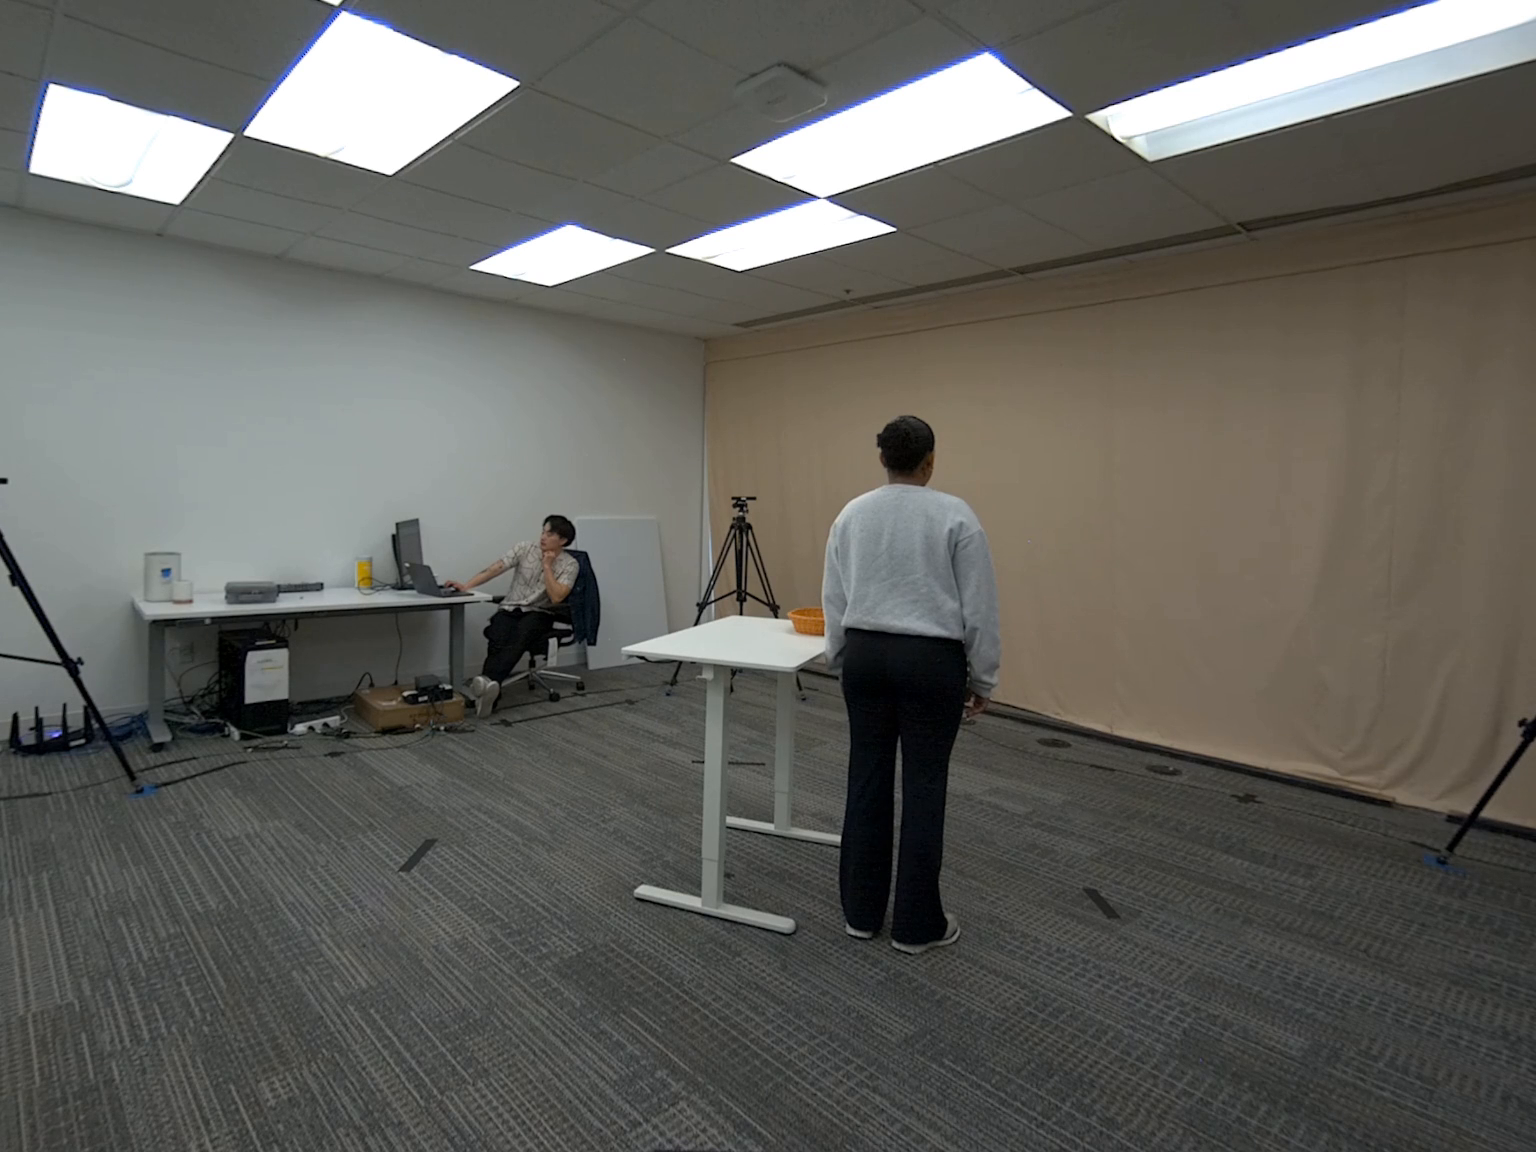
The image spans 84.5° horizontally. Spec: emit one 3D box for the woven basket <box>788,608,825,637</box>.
[{"bbox_3d":[0.206,0.185,3.320,0.256,0.073,0.346,2,5,16],"label":"woven basket"}]
